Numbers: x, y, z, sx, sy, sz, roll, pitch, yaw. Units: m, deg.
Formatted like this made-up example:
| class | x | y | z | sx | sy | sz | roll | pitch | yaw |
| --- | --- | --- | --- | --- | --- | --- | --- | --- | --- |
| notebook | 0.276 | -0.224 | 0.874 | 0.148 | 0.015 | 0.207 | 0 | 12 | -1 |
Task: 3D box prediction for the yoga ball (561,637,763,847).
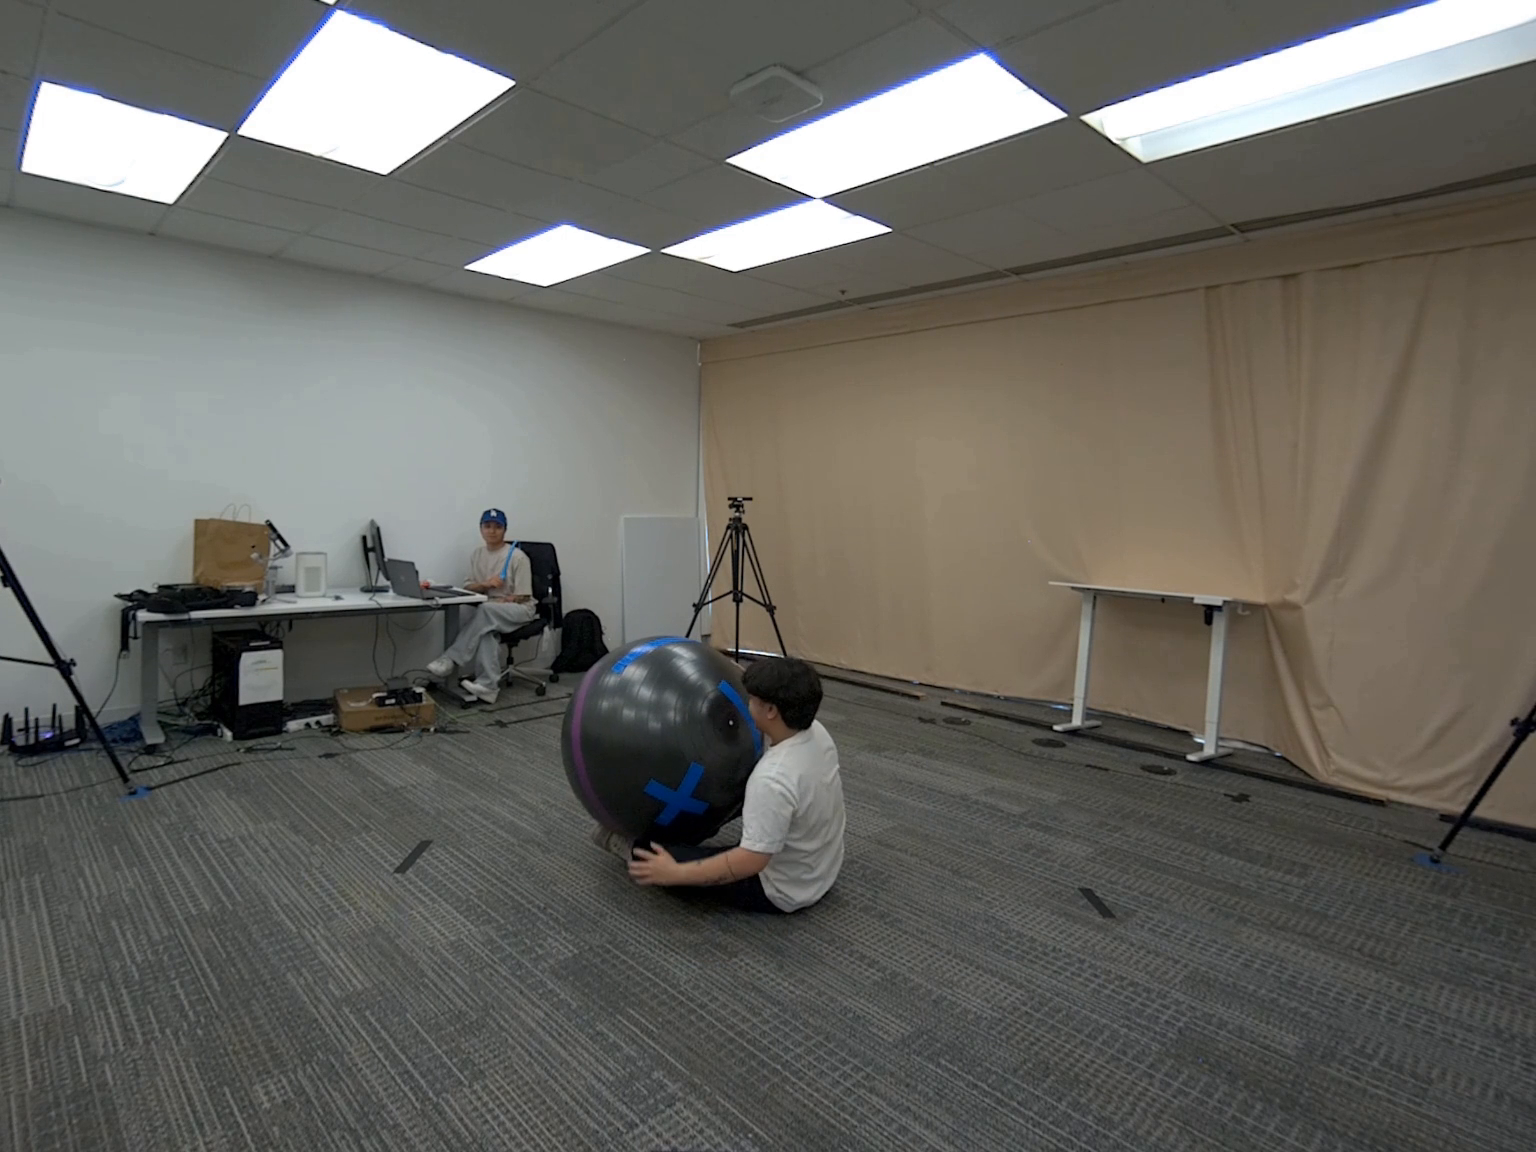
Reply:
| class | x | y | z | sx | sy | sz | roll | pitch | yaw |
| --- | --- | --- | --- | --- | --- | --- | --- | --- | --- |
| yoga ball | -0.393 | 0.606 | 3.156 | 0.757 | 0.756 | 0.760 | 1 | 4 | -1 |
